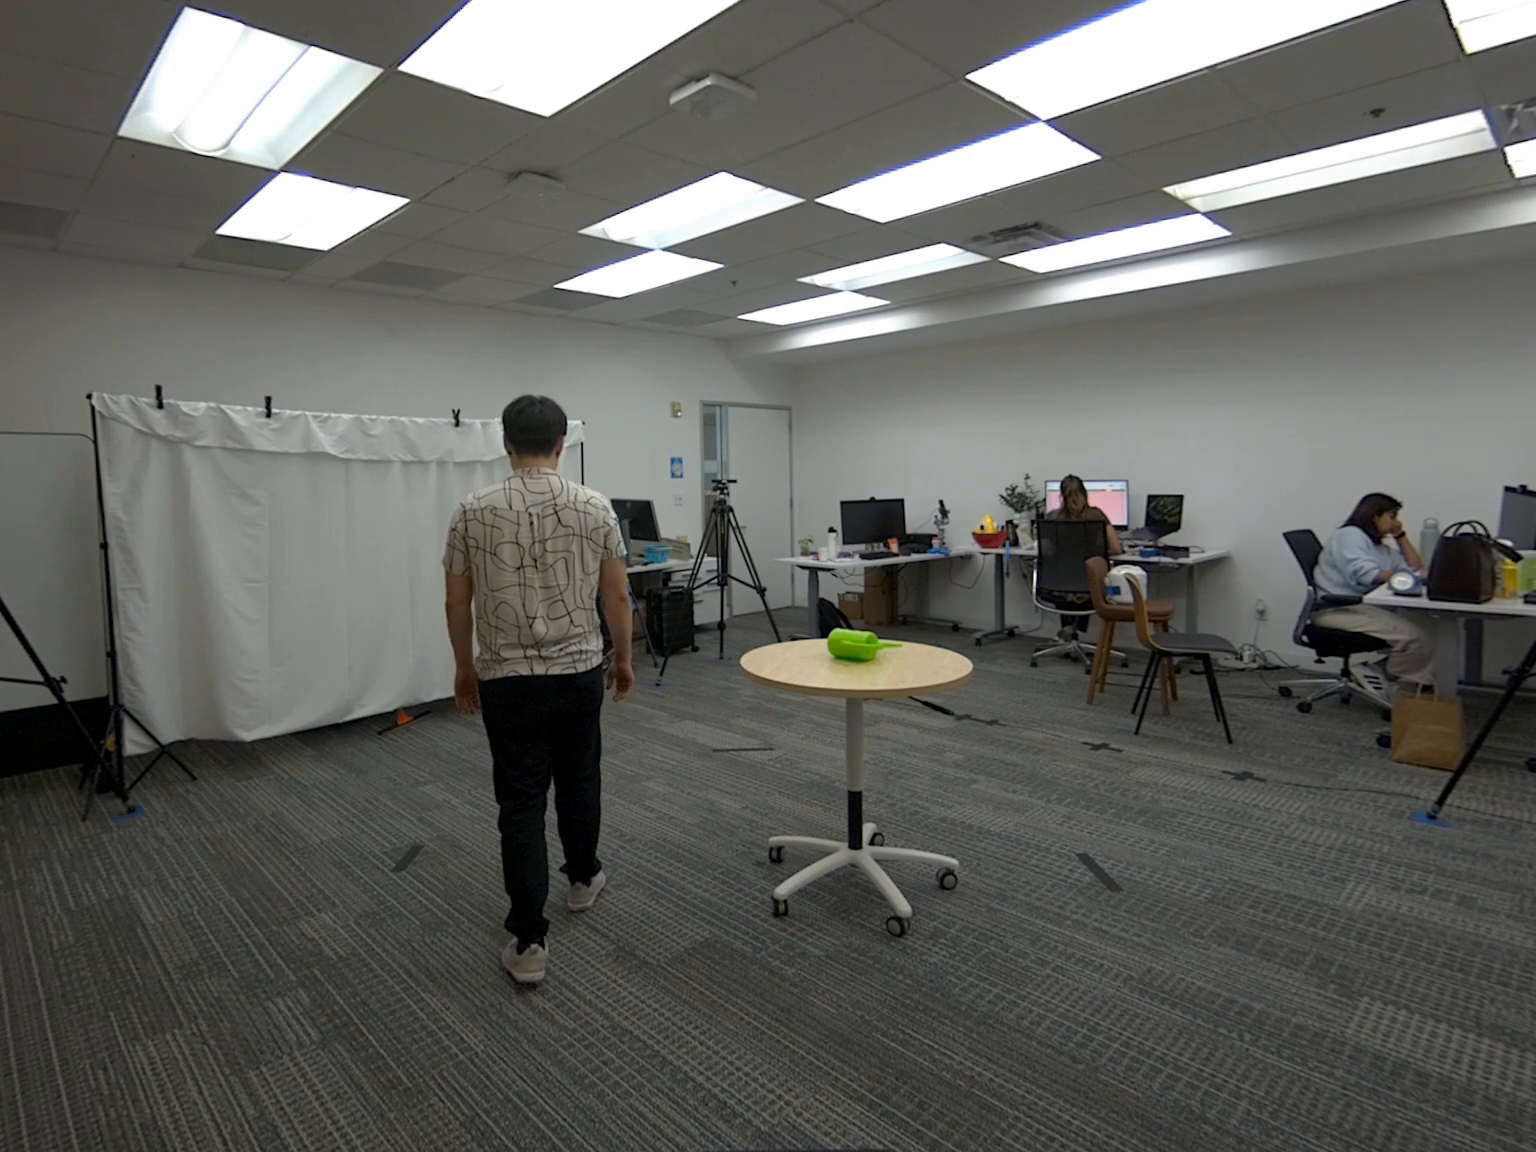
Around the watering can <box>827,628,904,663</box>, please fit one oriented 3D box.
[{"bbox_3d":[0.331,0.243,2.918,0.182,0.099,0.268,4,-13,33],"label":"watering can"}]
